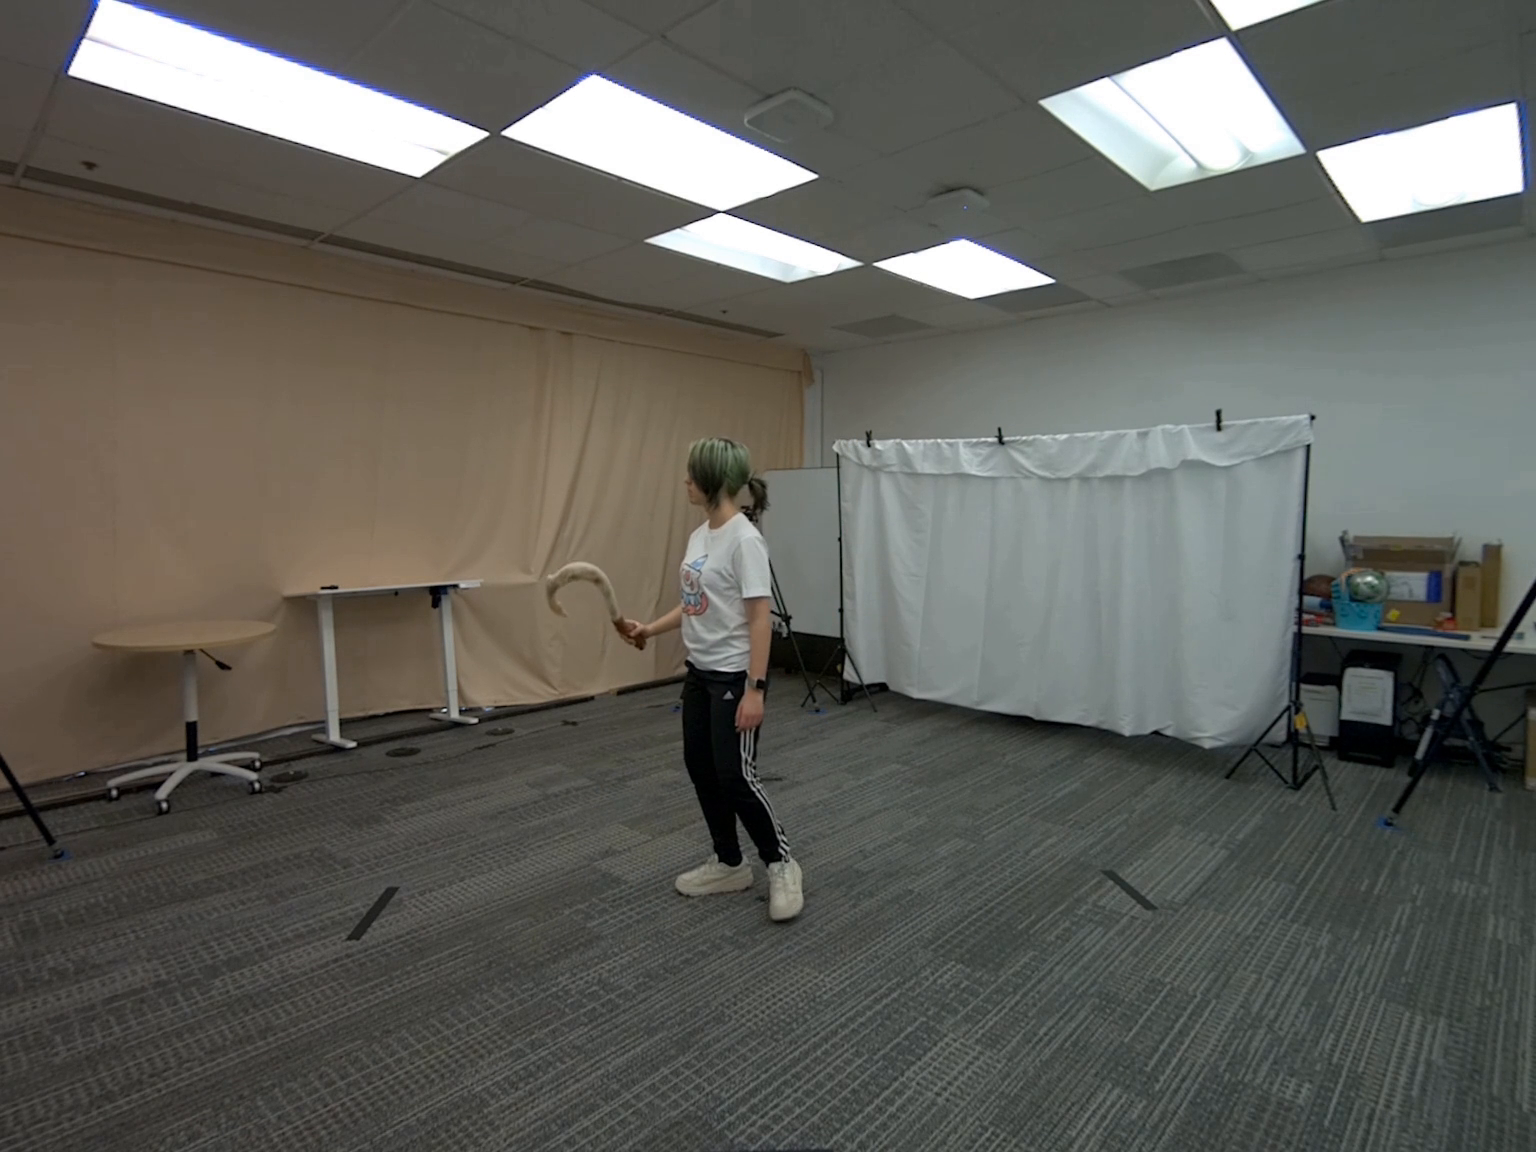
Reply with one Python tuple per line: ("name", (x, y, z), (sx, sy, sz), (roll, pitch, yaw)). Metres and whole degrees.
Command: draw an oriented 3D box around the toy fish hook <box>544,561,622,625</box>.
("toy fish hook", (-0.590, 0.131, 2.944), (0.226, 0.490, 0.049), (-25, 40, 7))
